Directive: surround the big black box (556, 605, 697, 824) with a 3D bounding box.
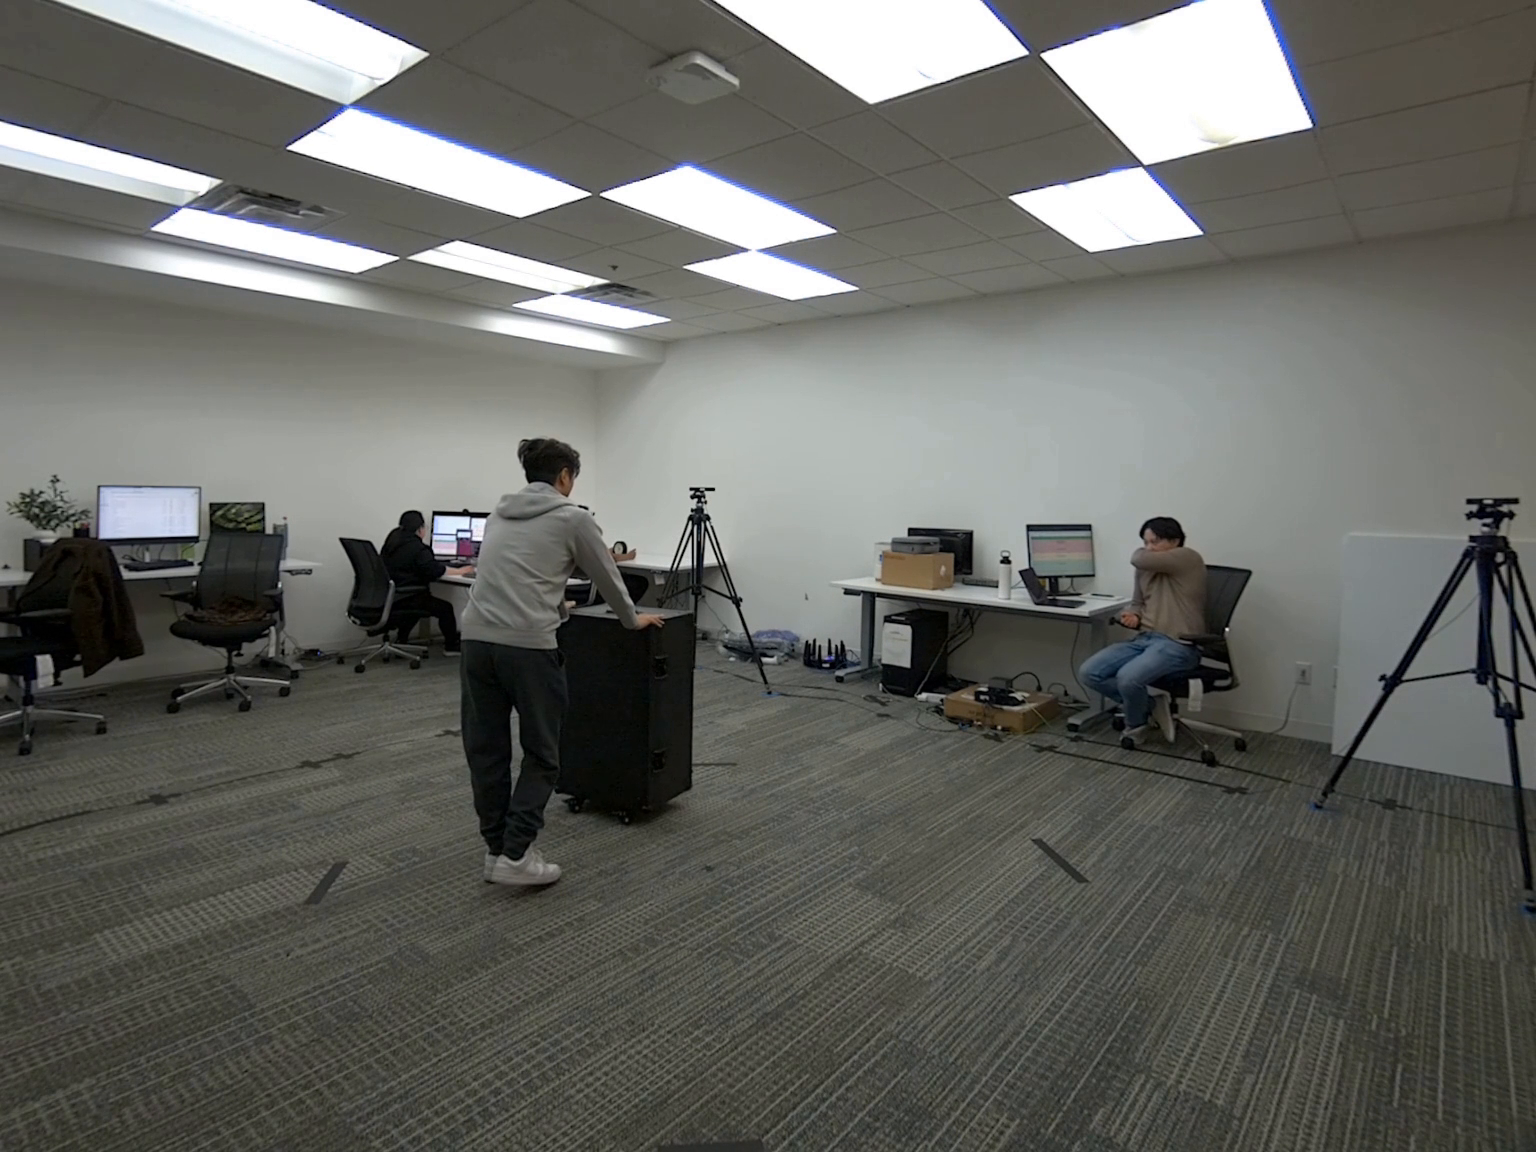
[{"bbox_3d":[-0.631,0.575,3.697,0.536,0.860,0.386,3,3,28],"label":"big black box"}]
